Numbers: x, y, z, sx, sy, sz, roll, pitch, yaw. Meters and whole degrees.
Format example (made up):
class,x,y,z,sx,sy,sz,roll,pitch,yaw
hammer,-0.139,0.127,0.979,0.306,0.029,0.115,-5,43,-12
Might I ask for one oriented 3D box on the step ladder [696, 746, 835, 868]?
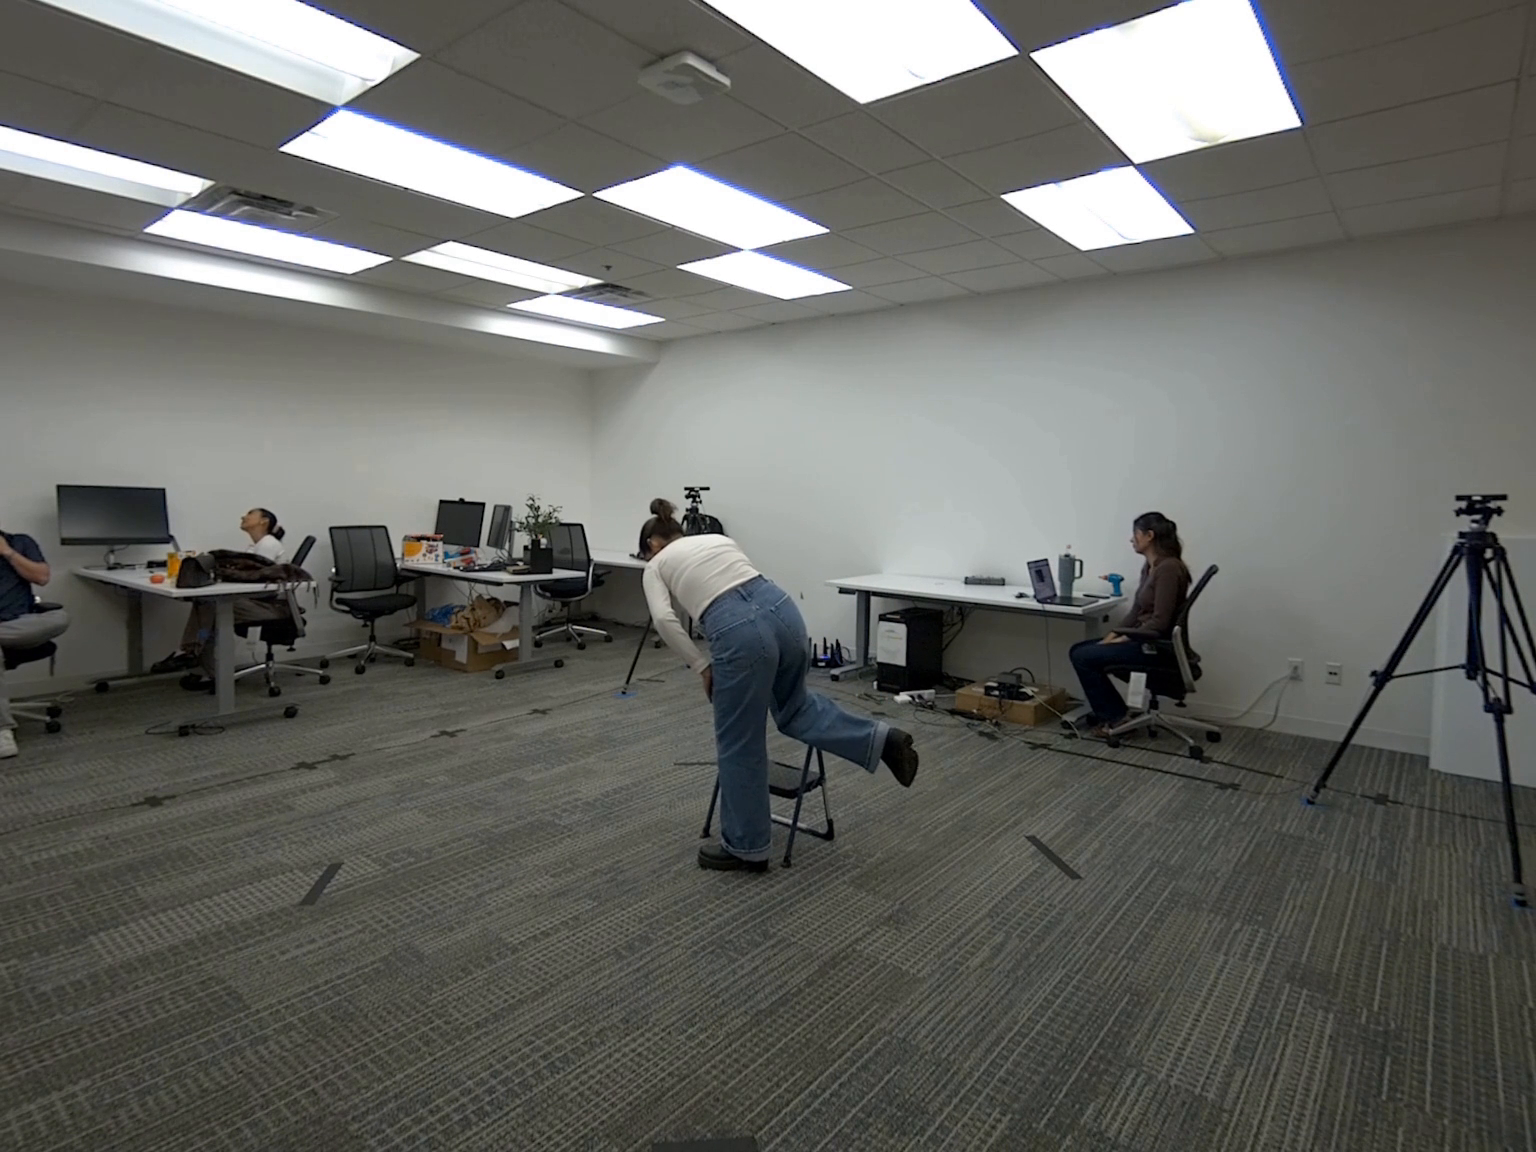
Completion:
class,x,y,z,sx,sy,sz,roll,pitch,yaw
step ladder,0.002,0.740,3.379,0.444,0.605,0.339,3,3,37
